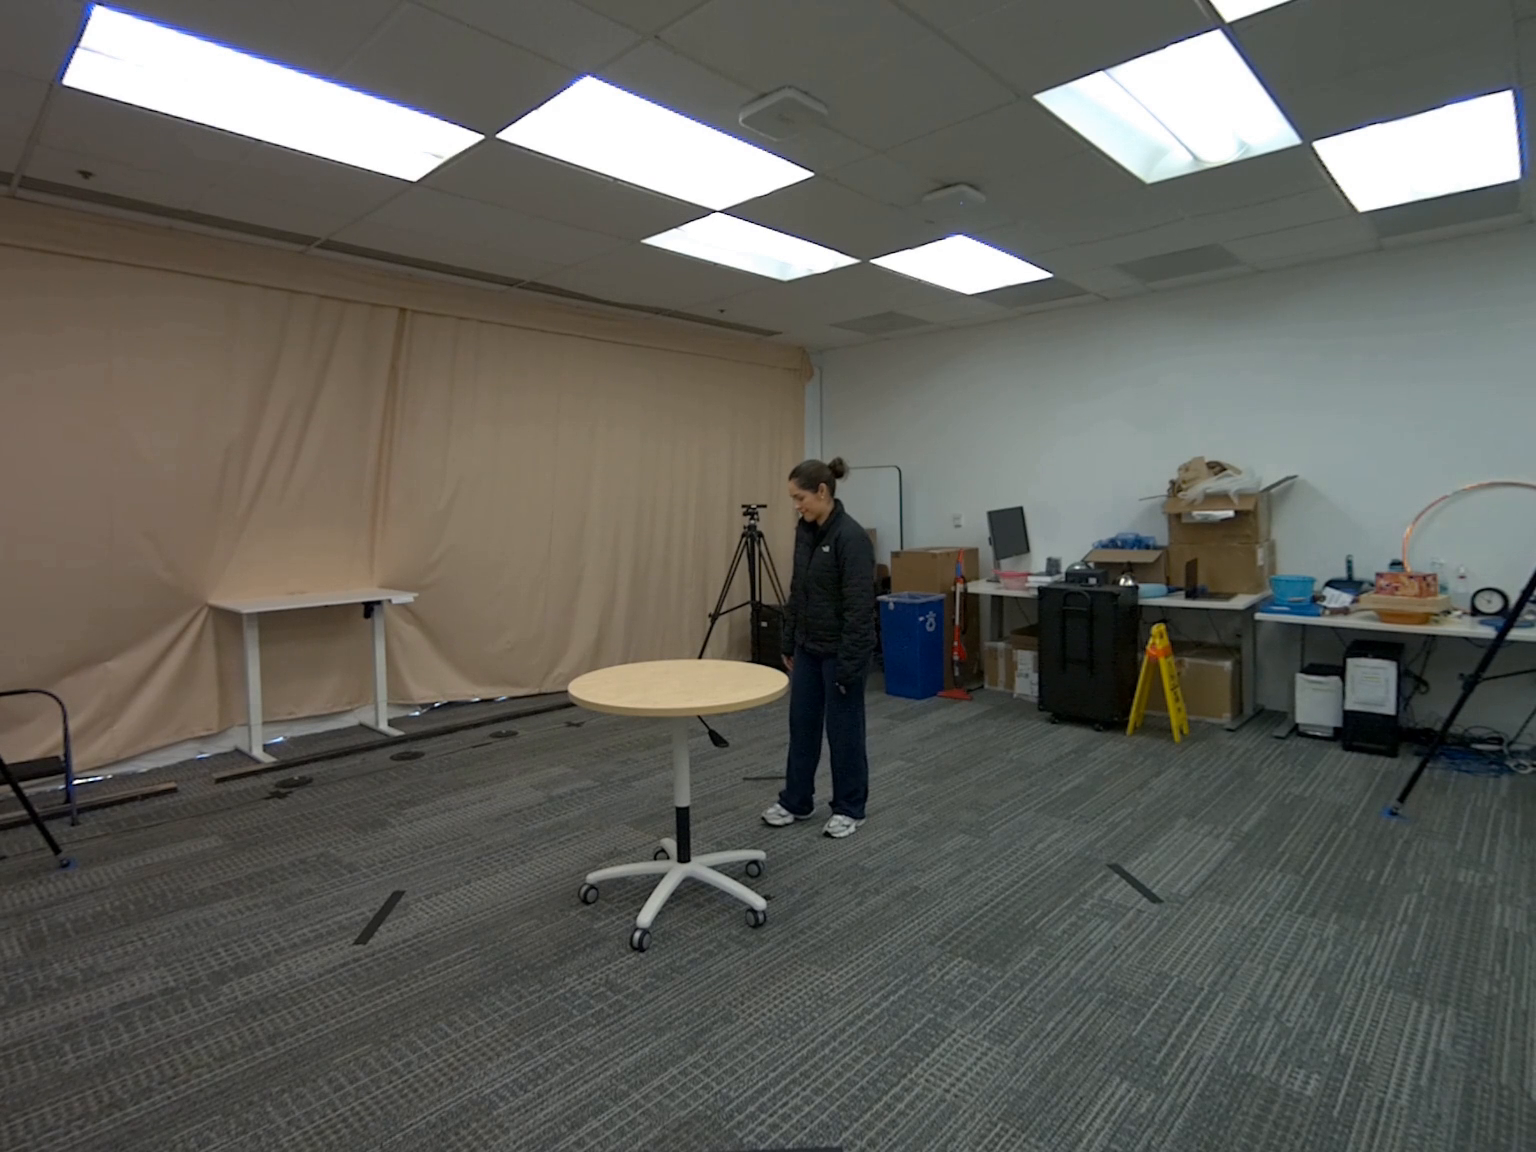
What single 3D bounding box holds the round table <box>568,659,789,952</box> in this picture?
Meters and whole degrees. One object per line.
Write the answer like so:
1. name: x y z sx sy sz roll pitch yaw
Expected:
1. round table: -0.290 0.753 2.973 0.784 0.784 0.788 -2 5 -2
